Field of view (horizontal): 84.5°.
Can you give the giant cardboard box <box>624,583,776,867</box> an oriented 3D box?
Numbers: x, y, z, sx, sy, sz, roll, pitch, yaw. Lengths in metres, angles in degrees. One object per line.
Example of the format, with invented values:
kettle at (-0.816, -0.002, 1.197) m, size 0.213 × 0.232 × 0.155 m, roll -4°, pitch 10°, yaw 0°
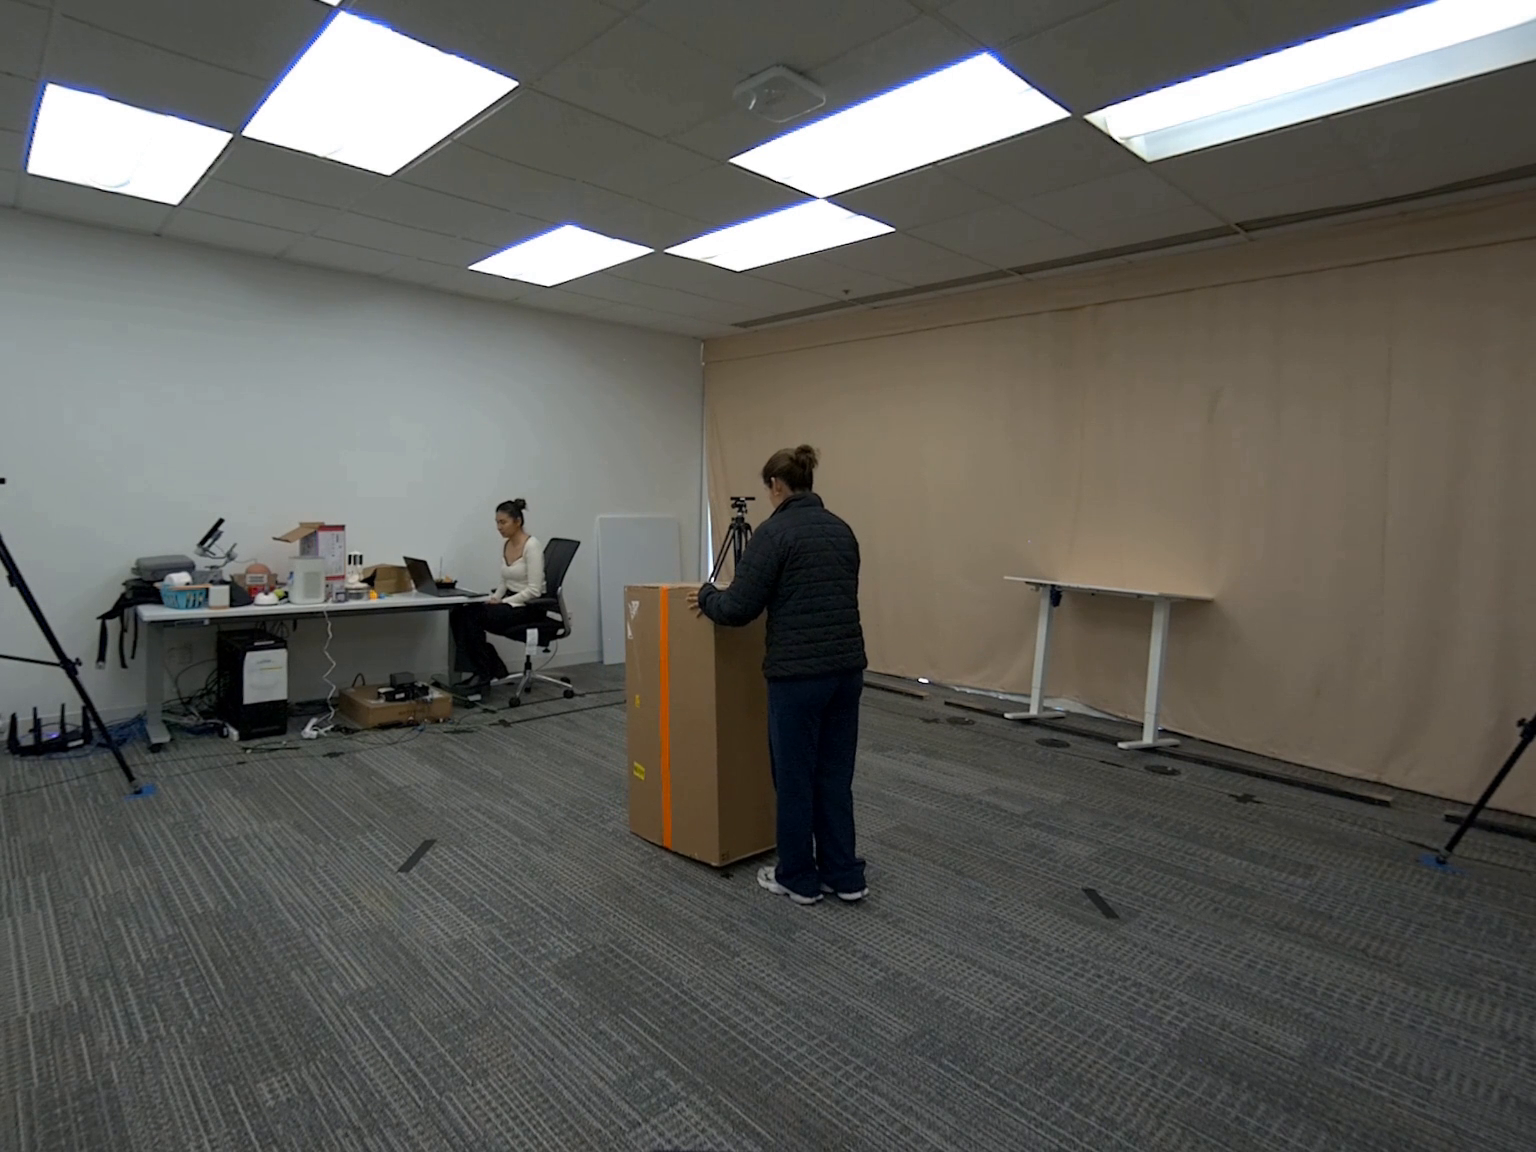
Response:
giant cardboard box at (-0.251, 0.553, 3.412) m, size 0.416 × 1.026 × 0.591 m, roll -1°, pitch 0°, yaw -42°
